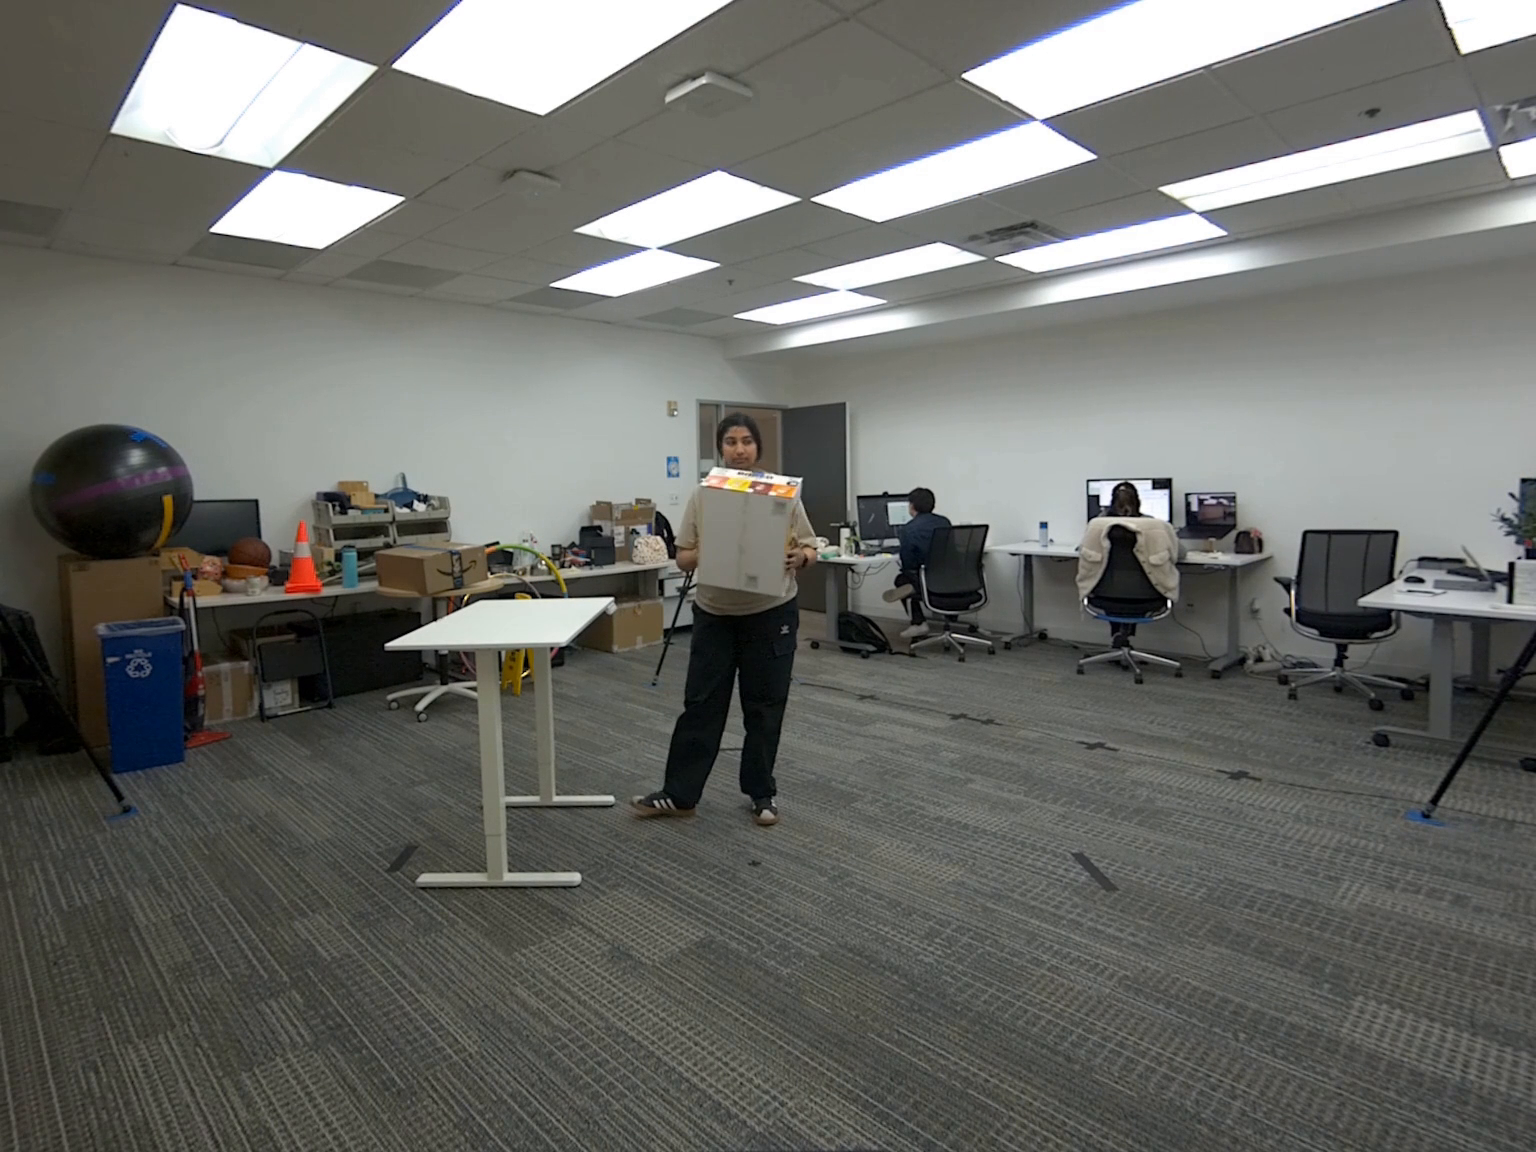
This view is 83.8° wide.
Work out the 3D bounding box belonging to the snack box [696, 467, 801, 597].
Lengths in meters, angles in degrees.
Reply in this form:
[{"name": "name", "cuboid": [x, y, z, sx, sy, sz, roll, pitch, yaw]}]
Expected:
[{"name": "snack box", "cuboid": [-0.078, -0.167, 3.202, 0.345, 0.397, 0.207, 8, 26, 12]}]
